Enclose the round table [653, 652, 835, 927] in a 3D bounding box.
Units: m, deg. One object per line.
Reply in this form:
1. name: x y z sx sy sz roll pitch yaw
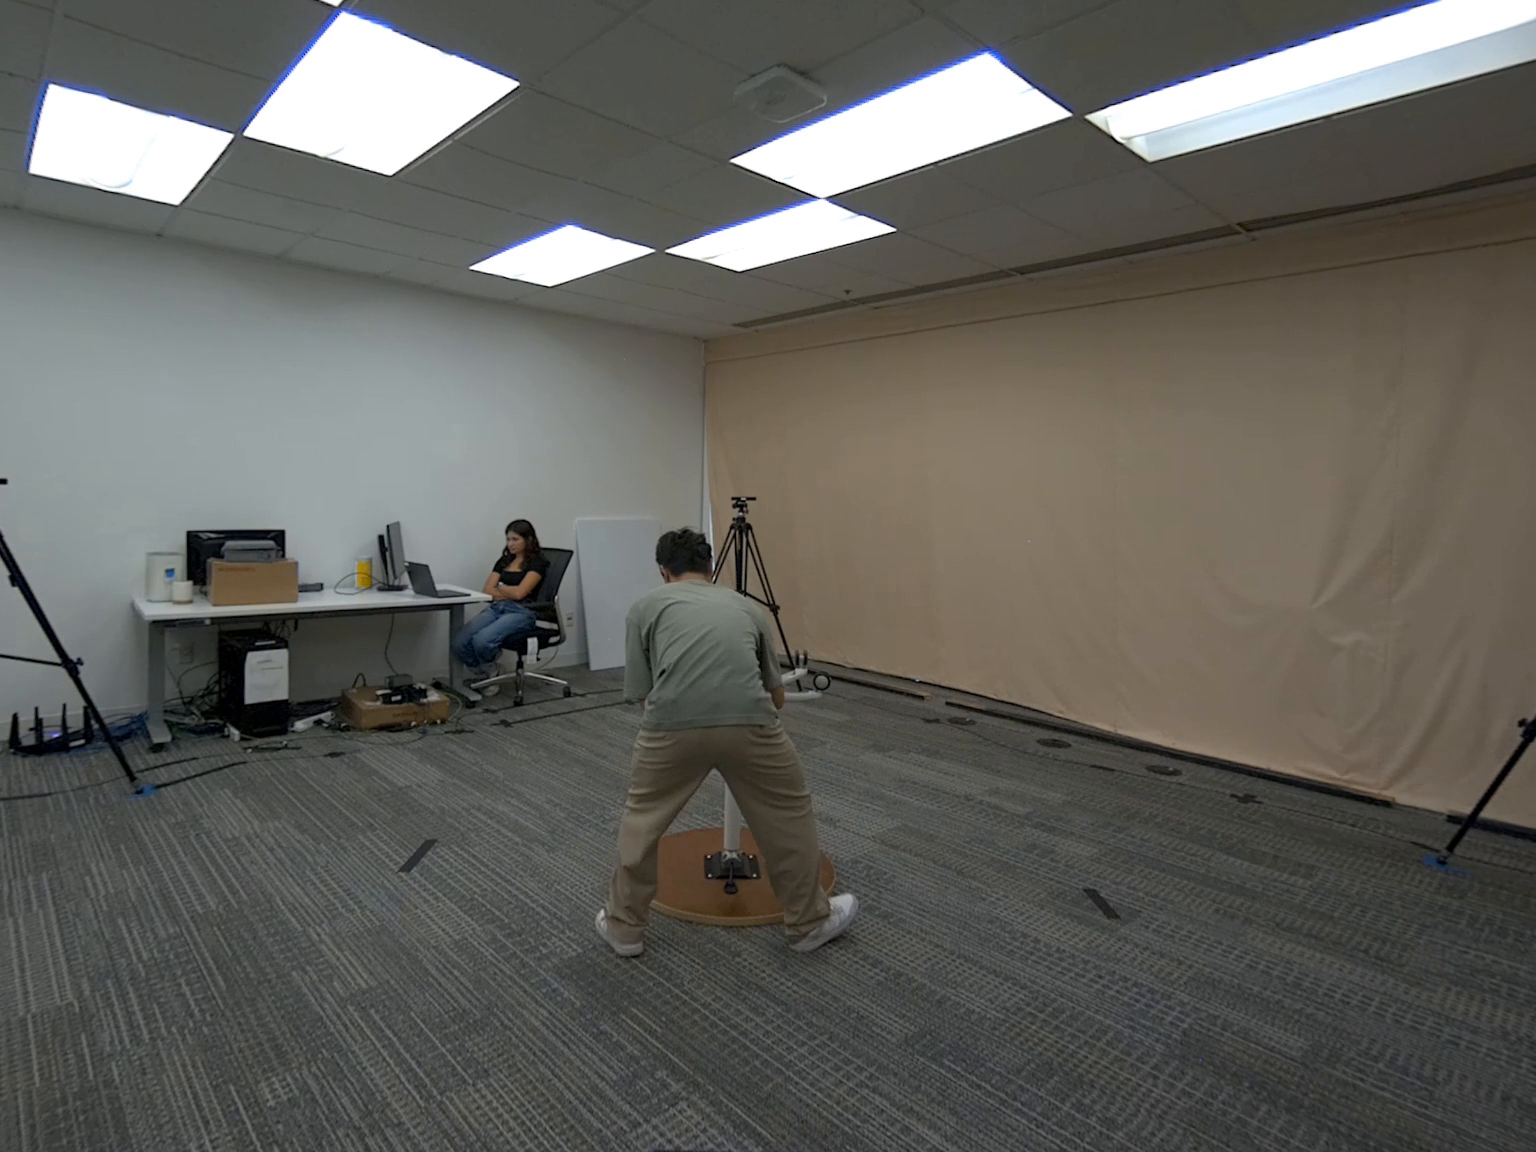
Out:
1. round table: -0.119 0.708 3.099 0.784 0.784 0.788 1 4 -1
